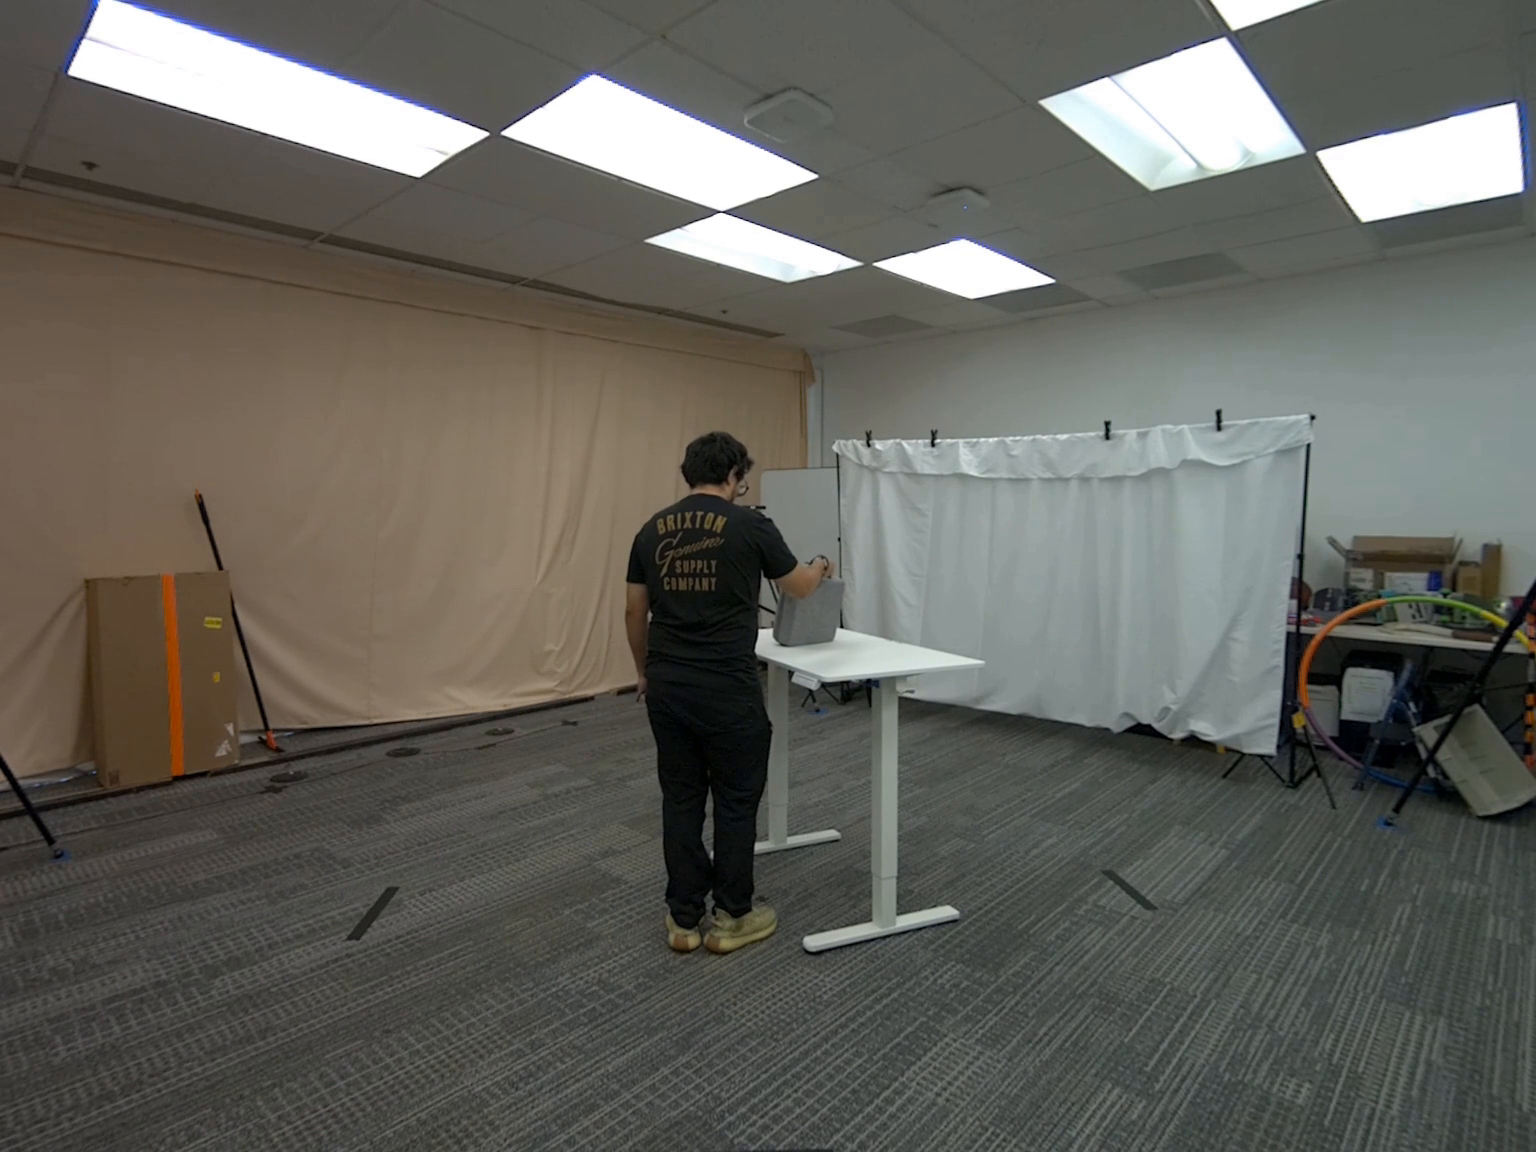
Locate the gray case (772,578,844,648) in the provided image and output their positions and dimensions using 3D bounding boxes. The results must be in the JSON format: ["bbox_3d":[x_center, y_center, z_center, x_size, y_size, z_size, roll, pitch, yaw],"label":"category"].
[{"bbox_3d":[0.154,0.121,3.098,0.249,0.259,0.108,-2,17,-37],"label":"gray case"}]
